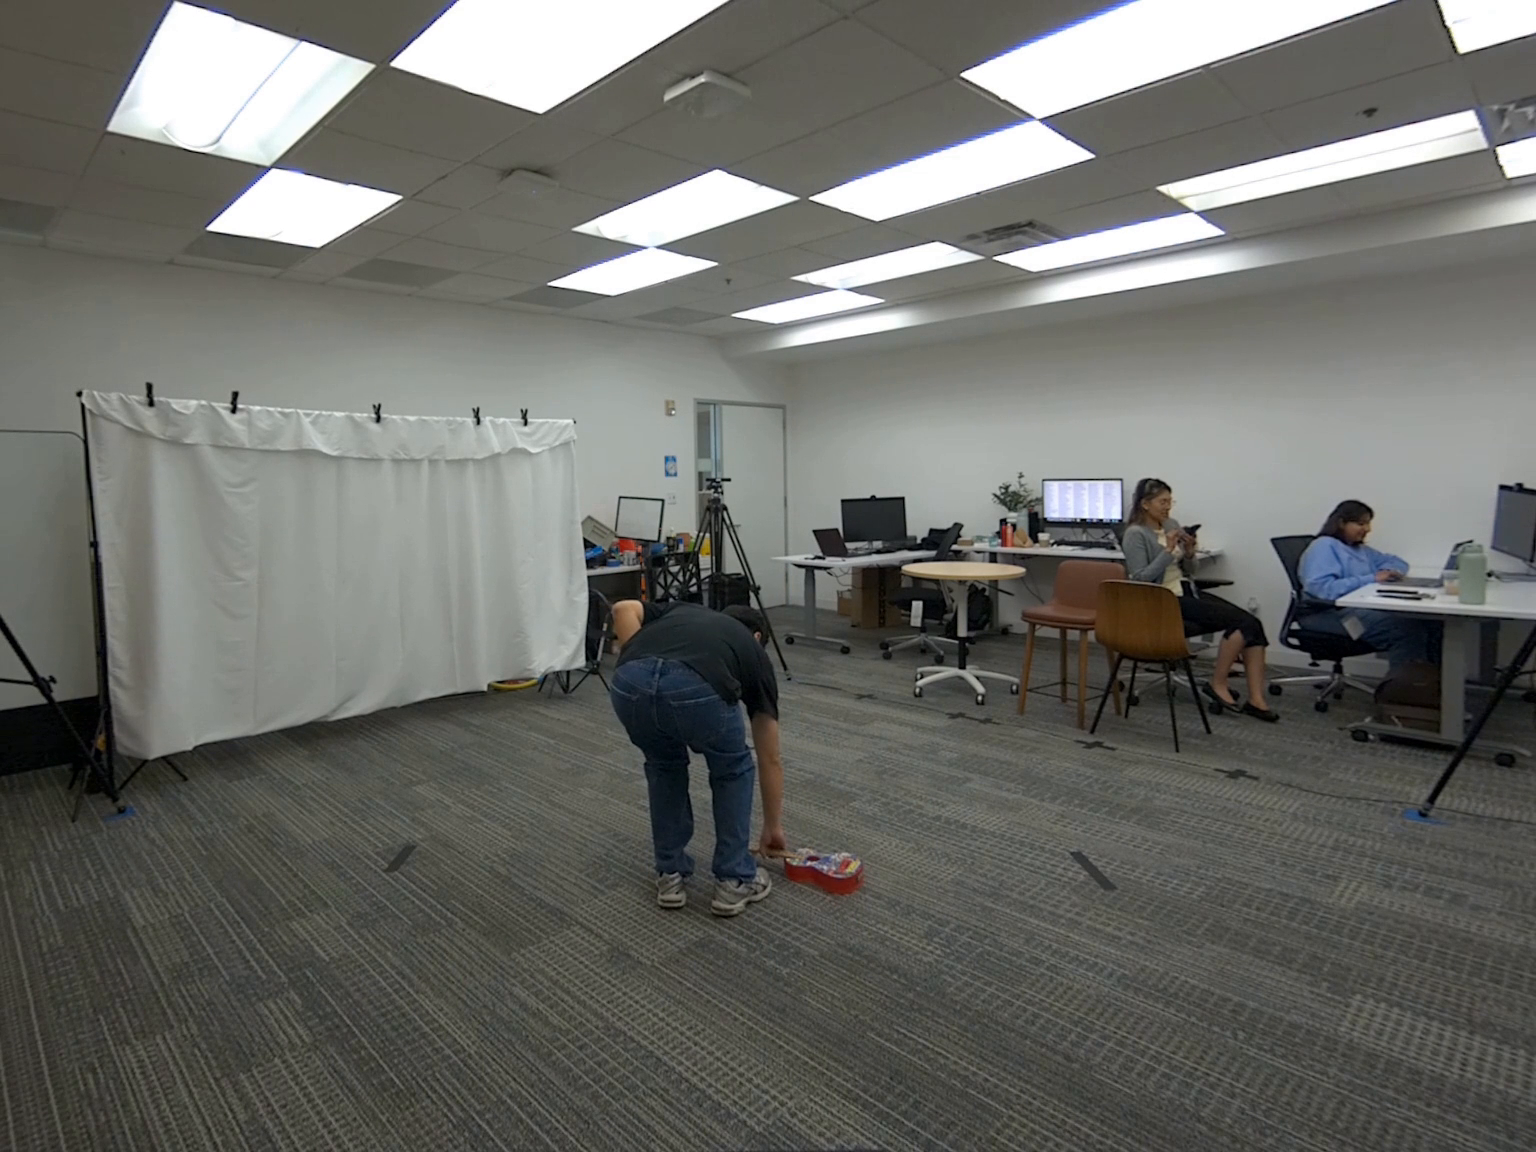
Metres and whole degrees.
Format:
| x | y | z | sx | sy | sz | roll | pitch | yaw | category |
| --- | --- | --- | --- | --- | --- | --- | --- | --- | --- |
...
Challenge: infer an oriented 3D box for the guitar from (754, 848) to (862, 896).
| x | y | z | sx | sy | sz | roll | pitch | yaw | category |
| --- | --- | --- | --- | --- | --- | --- | --- | --- | --- |
| 0.102 | 1.008 | 3.053 | 0.512 | 0.070 | 0.188 | 5 | 8 | 34 | guitar |
